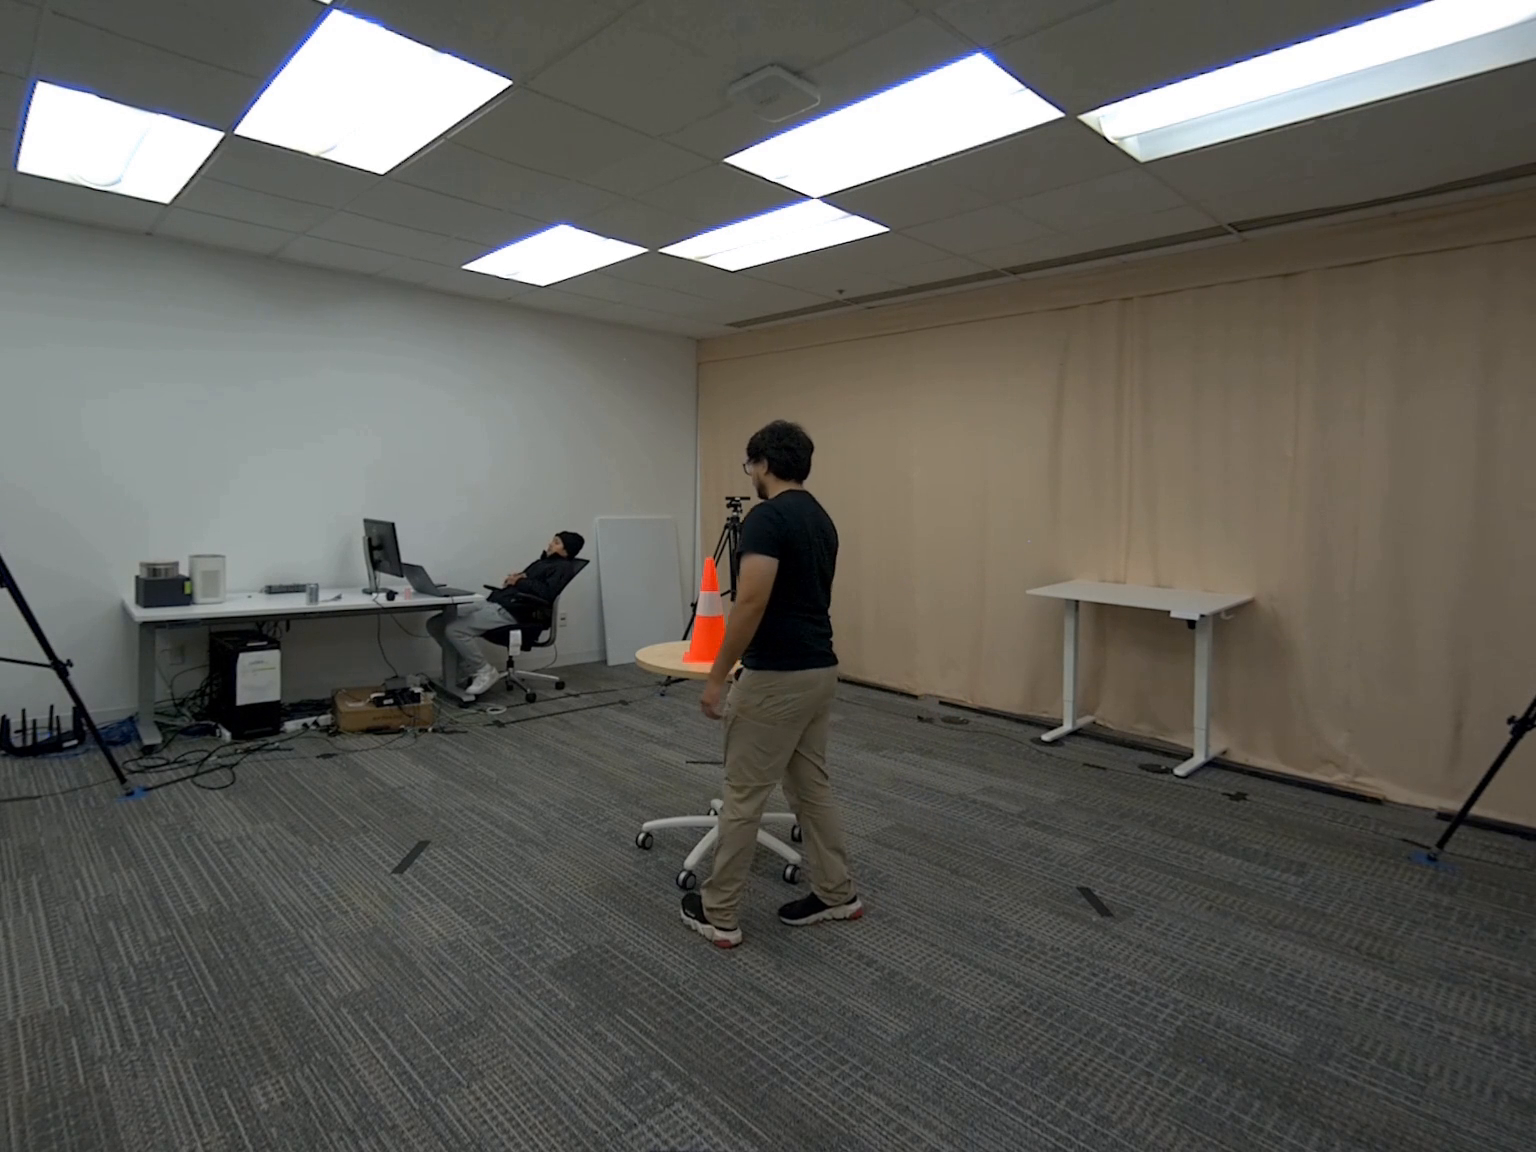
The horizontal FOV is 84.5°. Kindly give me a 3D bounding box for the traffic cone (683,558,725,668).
[{"bbox_3d":[-0.228,0.128,3.185,0.203,0.383,0.205,2,2,-2],"label":"traffic cone"}]
